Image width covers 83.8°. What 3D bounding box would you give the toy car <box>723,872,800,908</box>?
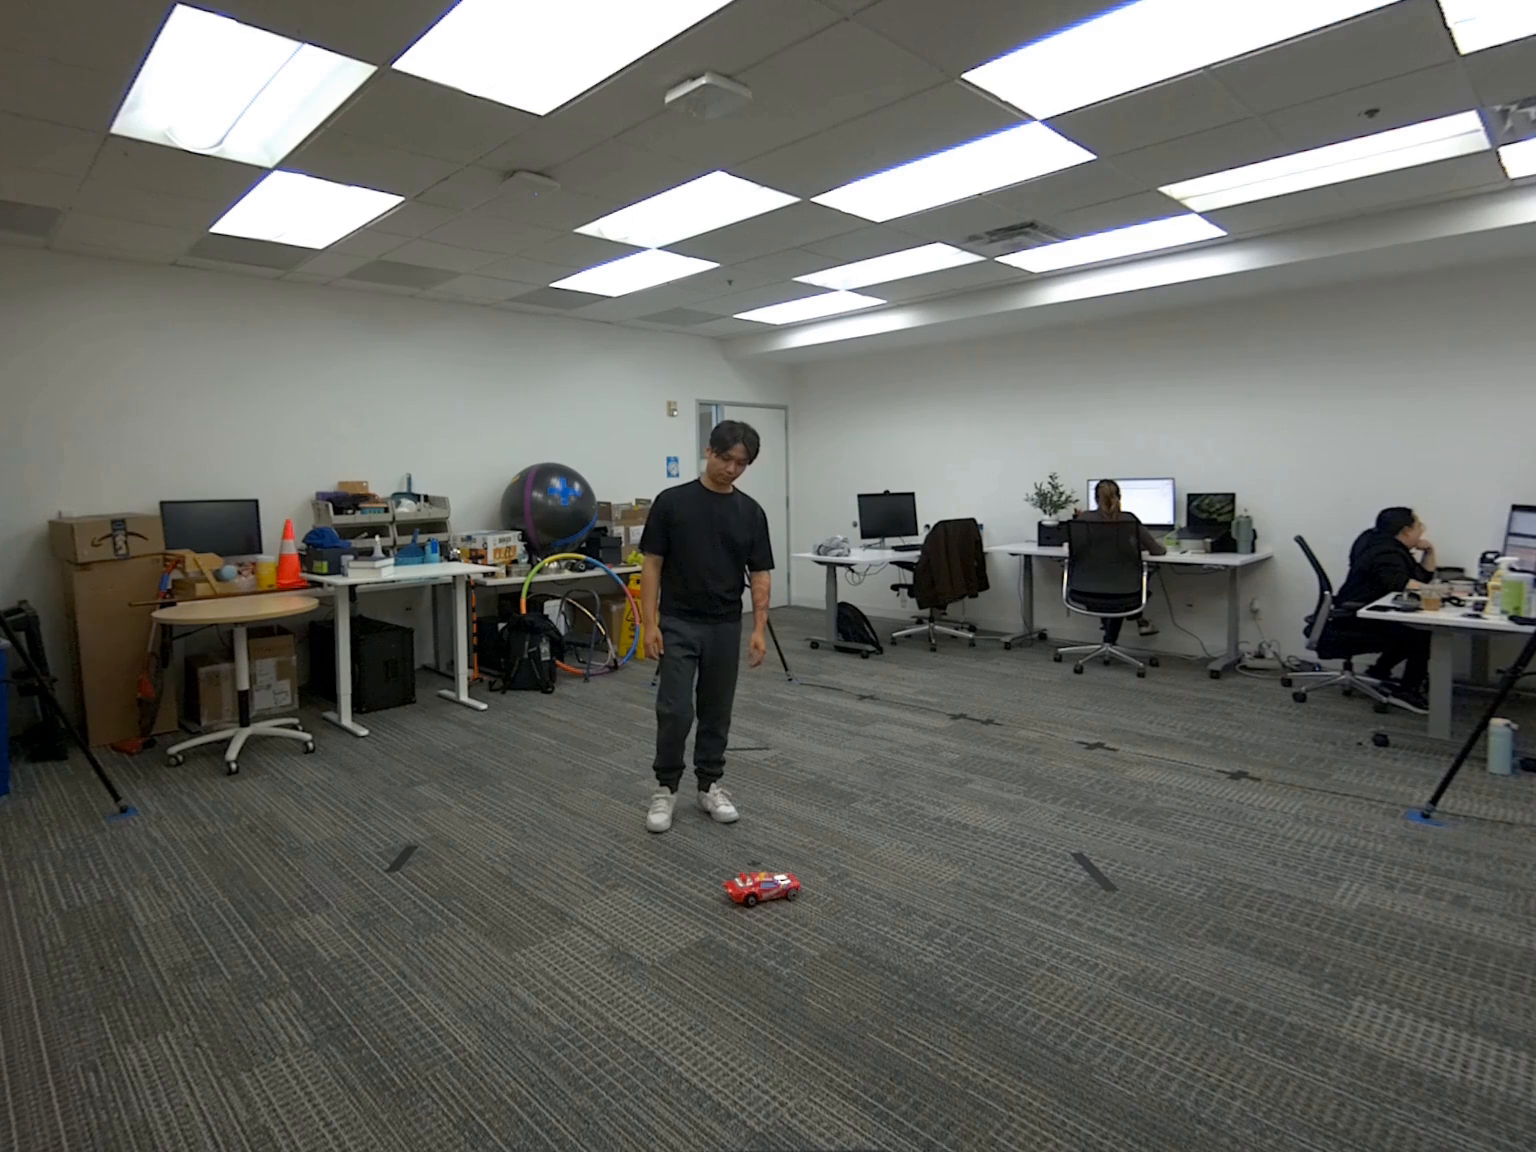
[{"bbox_3d":[-0.024,1.046,2.852,0.250,0.083,0.133,8,3,-17],"label":"toy car"}]
